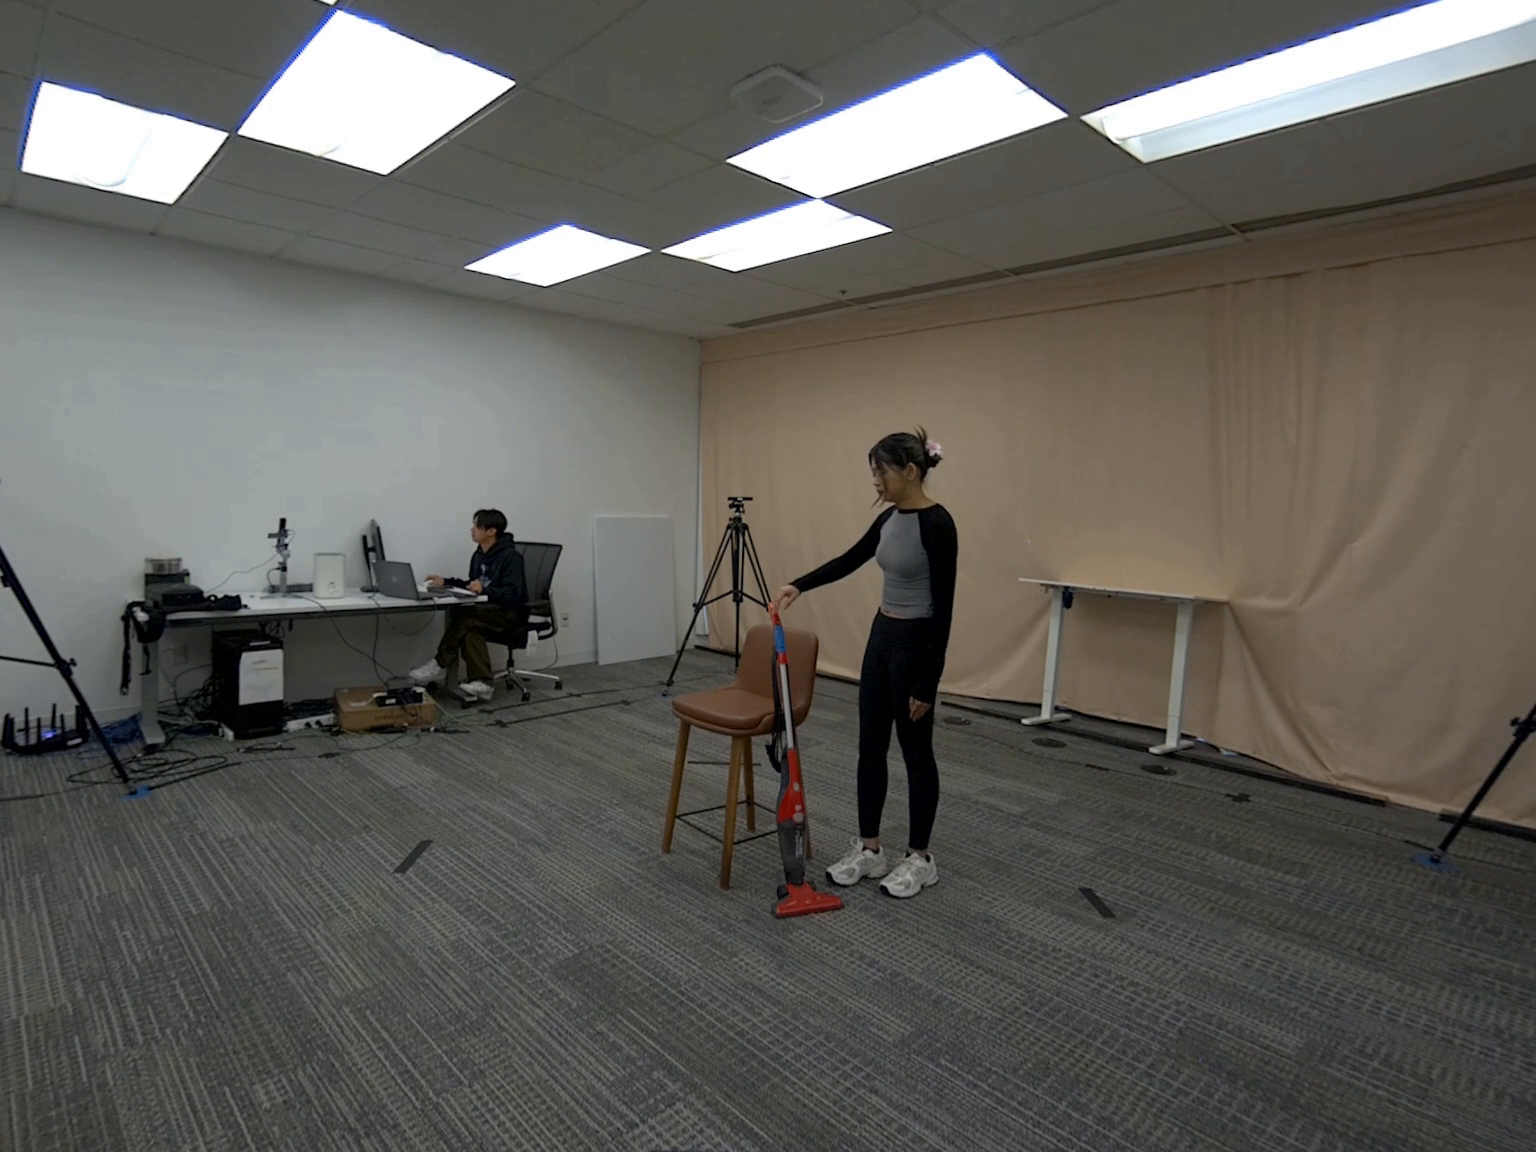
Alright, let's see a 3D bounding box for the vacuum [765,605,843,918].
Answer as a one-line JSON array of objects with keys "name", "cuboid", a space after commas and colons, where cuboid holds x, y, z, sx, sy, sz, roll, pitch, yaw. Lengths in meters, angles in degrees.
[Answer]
[{"name": "vacuum", "cuboid": [0.049, 0.616, 3.034, 0.248, 1.062, 0.145, -1, -16, -24]}]
